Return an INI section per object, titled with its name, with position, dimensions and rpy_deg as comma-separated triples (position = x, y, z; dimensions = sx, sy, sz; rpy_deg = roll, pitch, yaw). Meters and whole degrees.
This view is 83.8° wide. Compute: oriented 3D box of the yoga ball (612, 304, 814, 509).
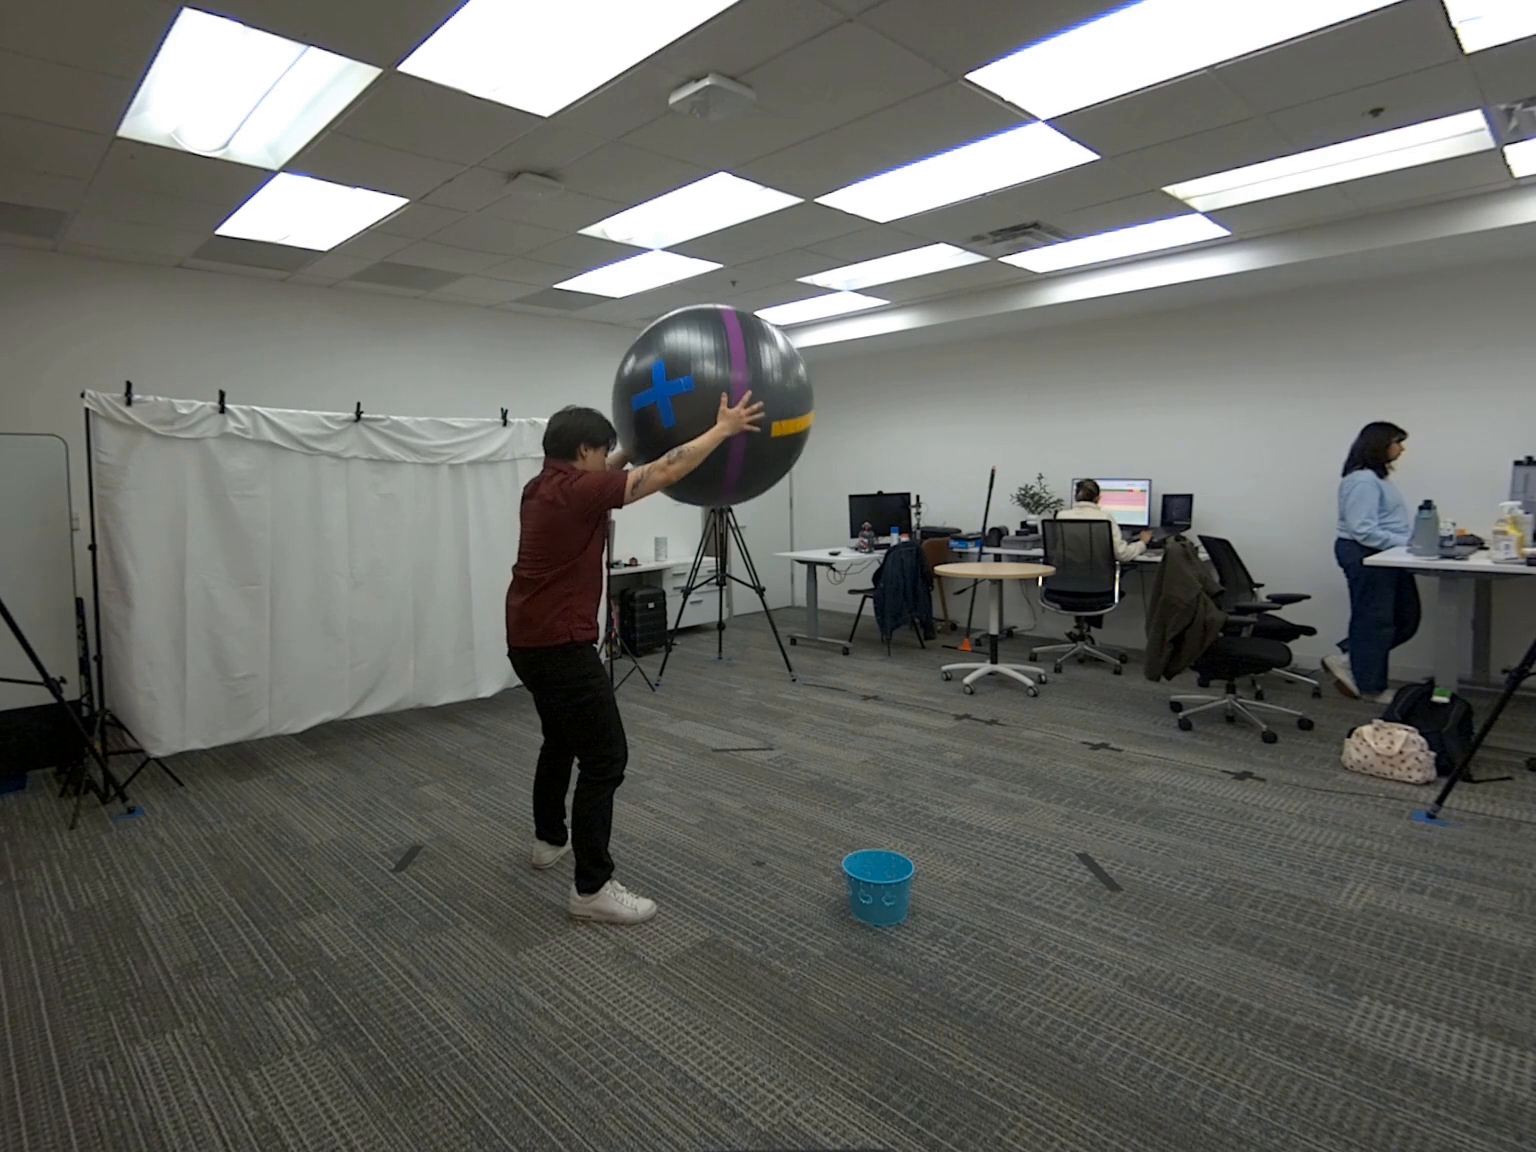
[yoga ball]
position = -0.210, -0.624, 3.233
dimensions = 0.757, 0.755, 0.762
rpy_deg = -1, 5, -2
